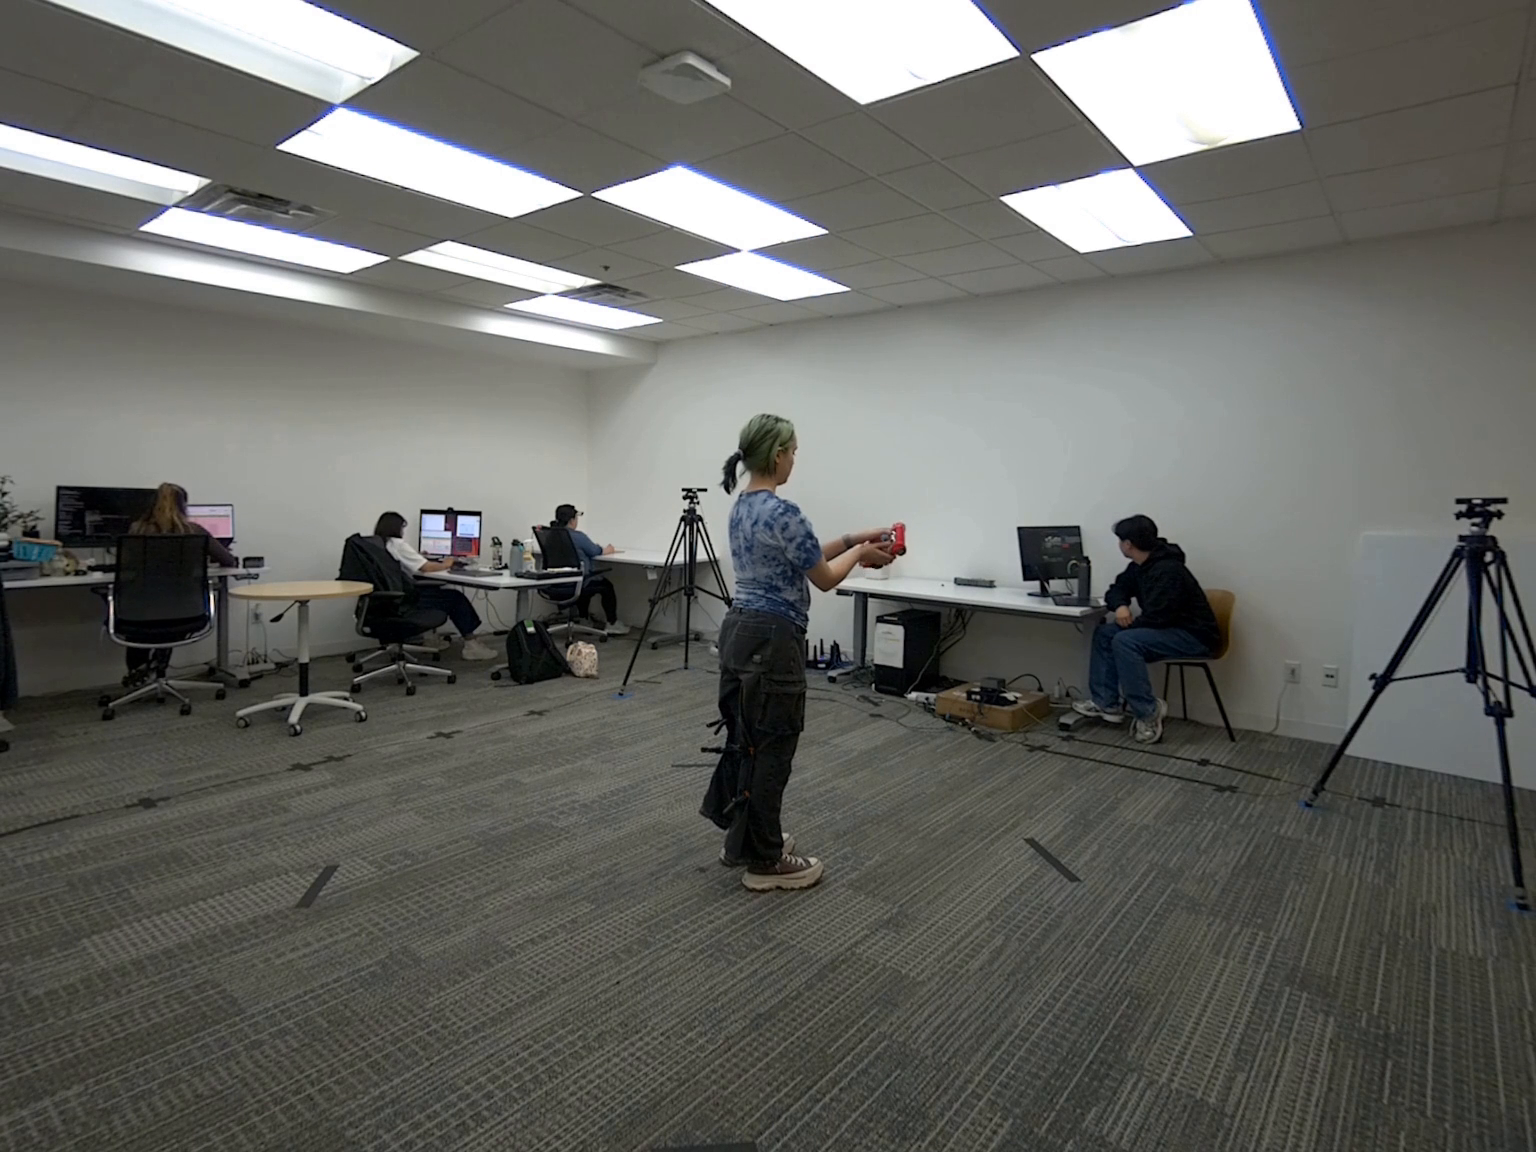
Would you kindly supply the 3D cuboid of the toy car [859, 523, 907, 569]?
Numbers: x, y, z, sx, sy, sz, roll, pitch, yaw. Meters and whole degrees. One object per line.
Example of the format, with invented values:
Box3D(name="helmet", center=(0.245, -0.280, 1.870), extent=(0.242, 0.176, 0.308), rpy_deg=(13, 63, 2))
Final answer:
Box3D(name="toy car", center=(0.425, -0.106, 3.187), extent=(0.080, 0.133, 0.258), rpy_deg=(19, -28, -32))
